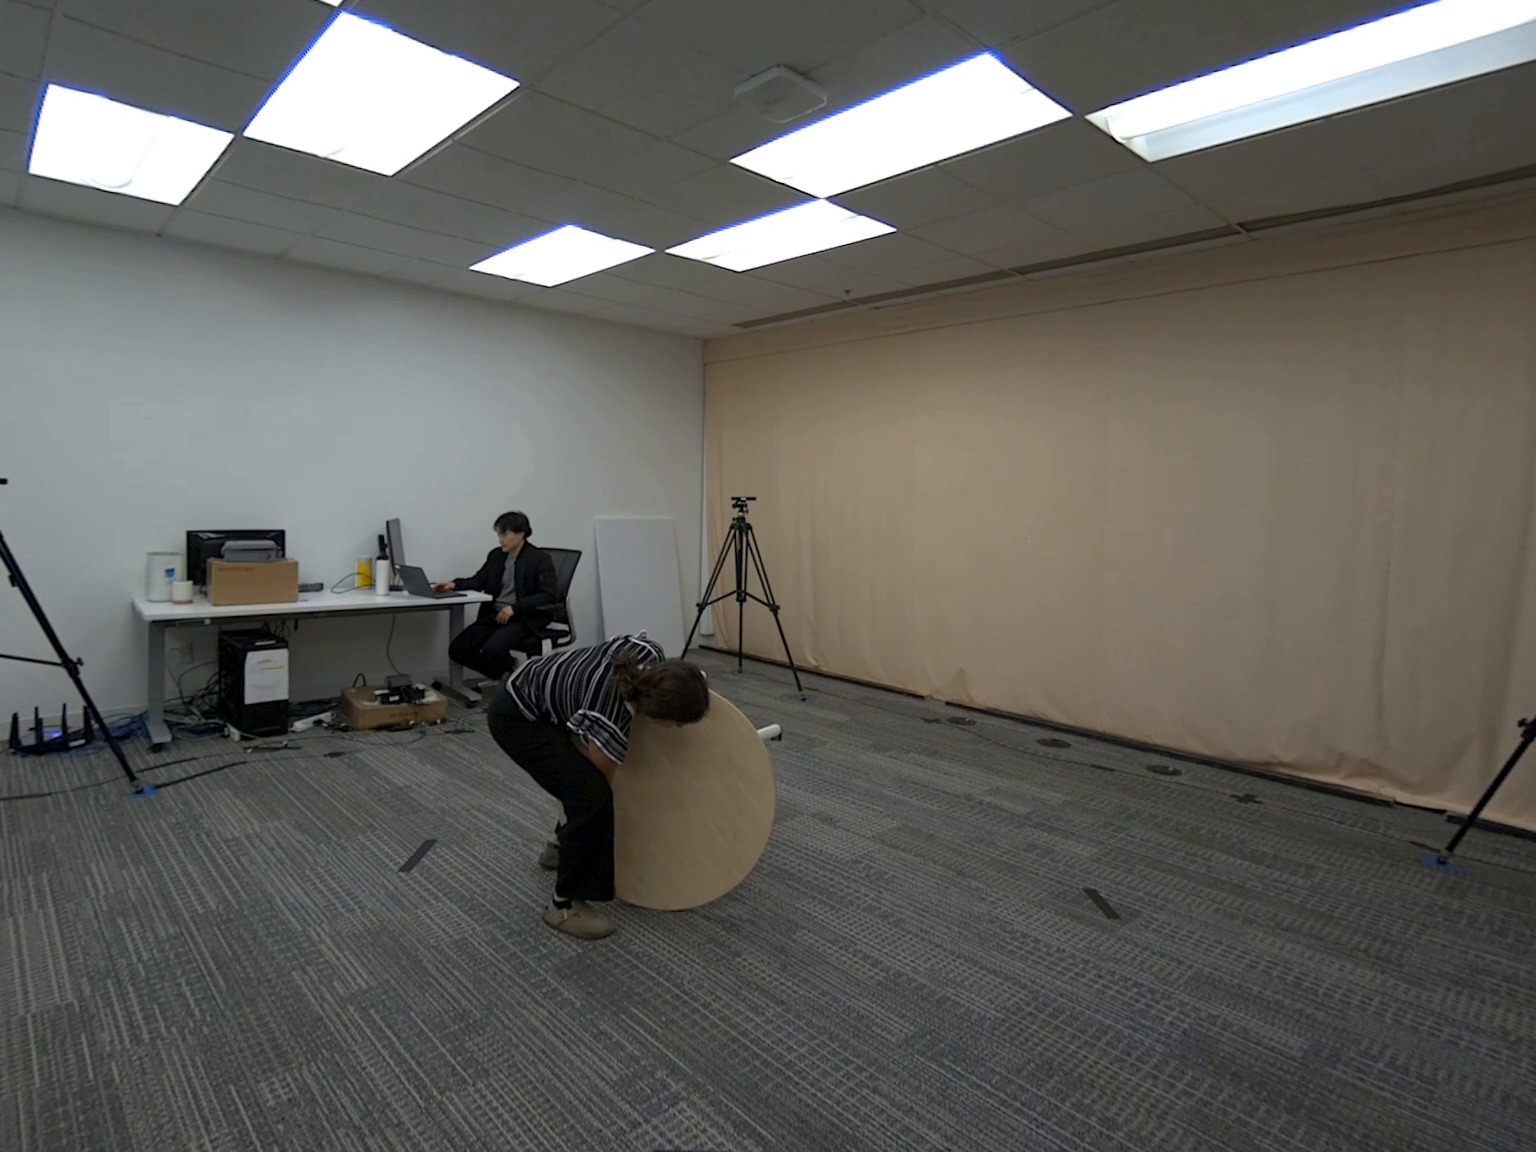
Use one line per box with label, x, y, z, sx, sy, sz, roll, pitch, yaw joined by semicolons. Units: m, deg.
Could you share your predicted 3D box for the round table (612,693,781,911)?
round table;-0.325;0.750;3.254;0.791;0.786;0.779;2;-2;8
